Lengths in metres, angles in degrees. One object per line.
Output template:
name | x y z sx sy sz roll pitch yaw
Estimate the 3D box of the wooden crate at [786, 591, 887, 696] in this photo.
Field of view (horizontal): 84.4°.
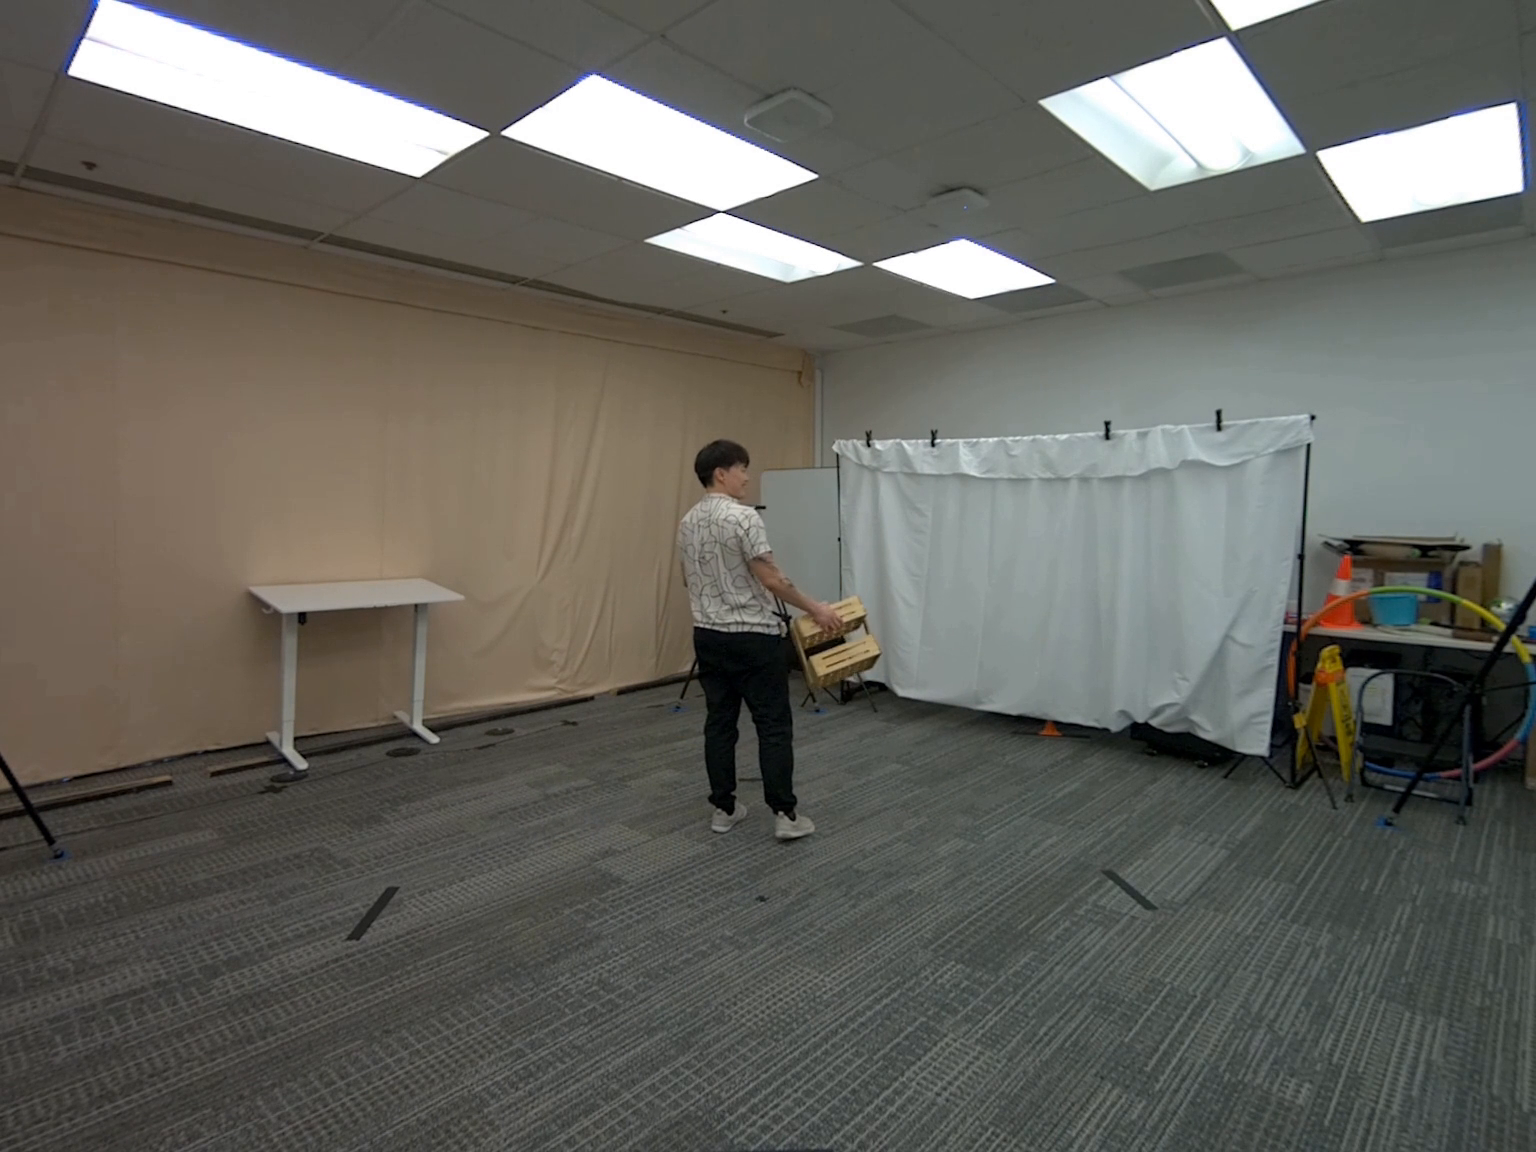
wooden crate | 0.276 0.294 3.687 0.321 0.279 0.298 -19 -22 -12
